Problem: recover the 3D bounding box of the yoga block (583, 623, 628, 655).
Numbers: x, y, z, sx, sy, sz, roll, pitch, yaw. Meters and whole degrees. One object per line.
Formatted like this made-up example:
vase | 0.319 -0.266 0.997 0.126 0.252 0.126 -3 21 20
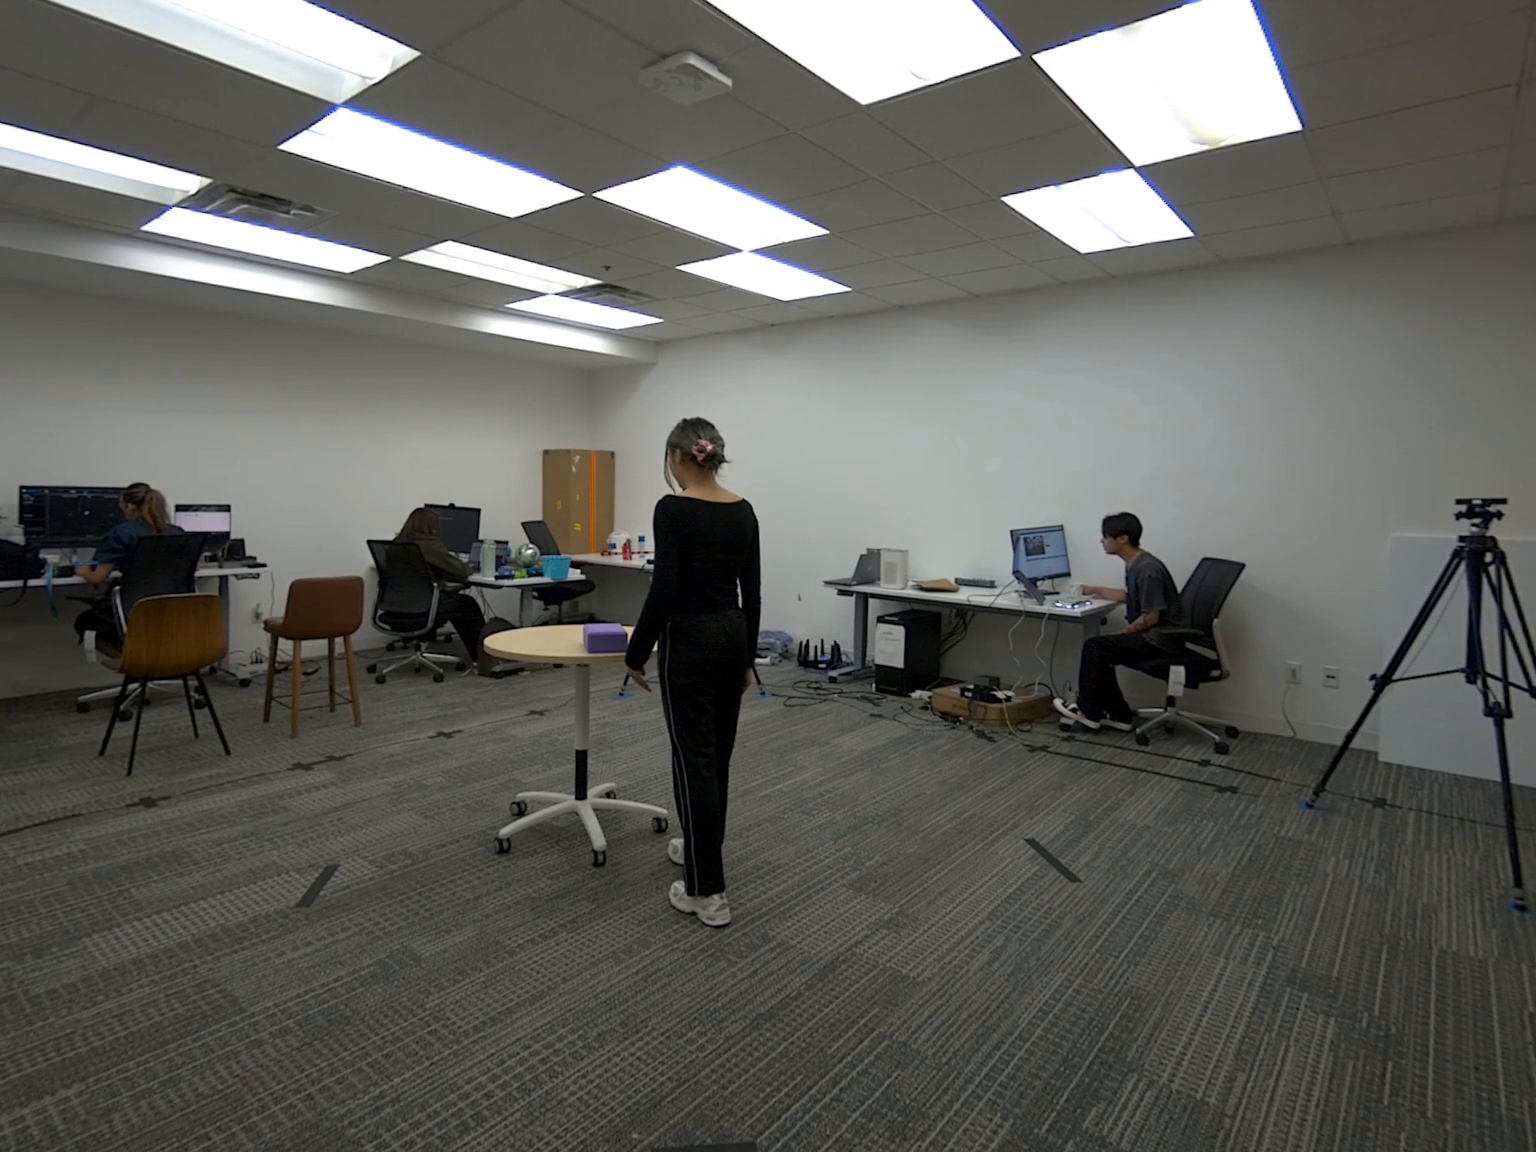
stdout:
yoga block | -0.630 0.229 3.209 0.147 0.076 0.233 -1 6 -12
